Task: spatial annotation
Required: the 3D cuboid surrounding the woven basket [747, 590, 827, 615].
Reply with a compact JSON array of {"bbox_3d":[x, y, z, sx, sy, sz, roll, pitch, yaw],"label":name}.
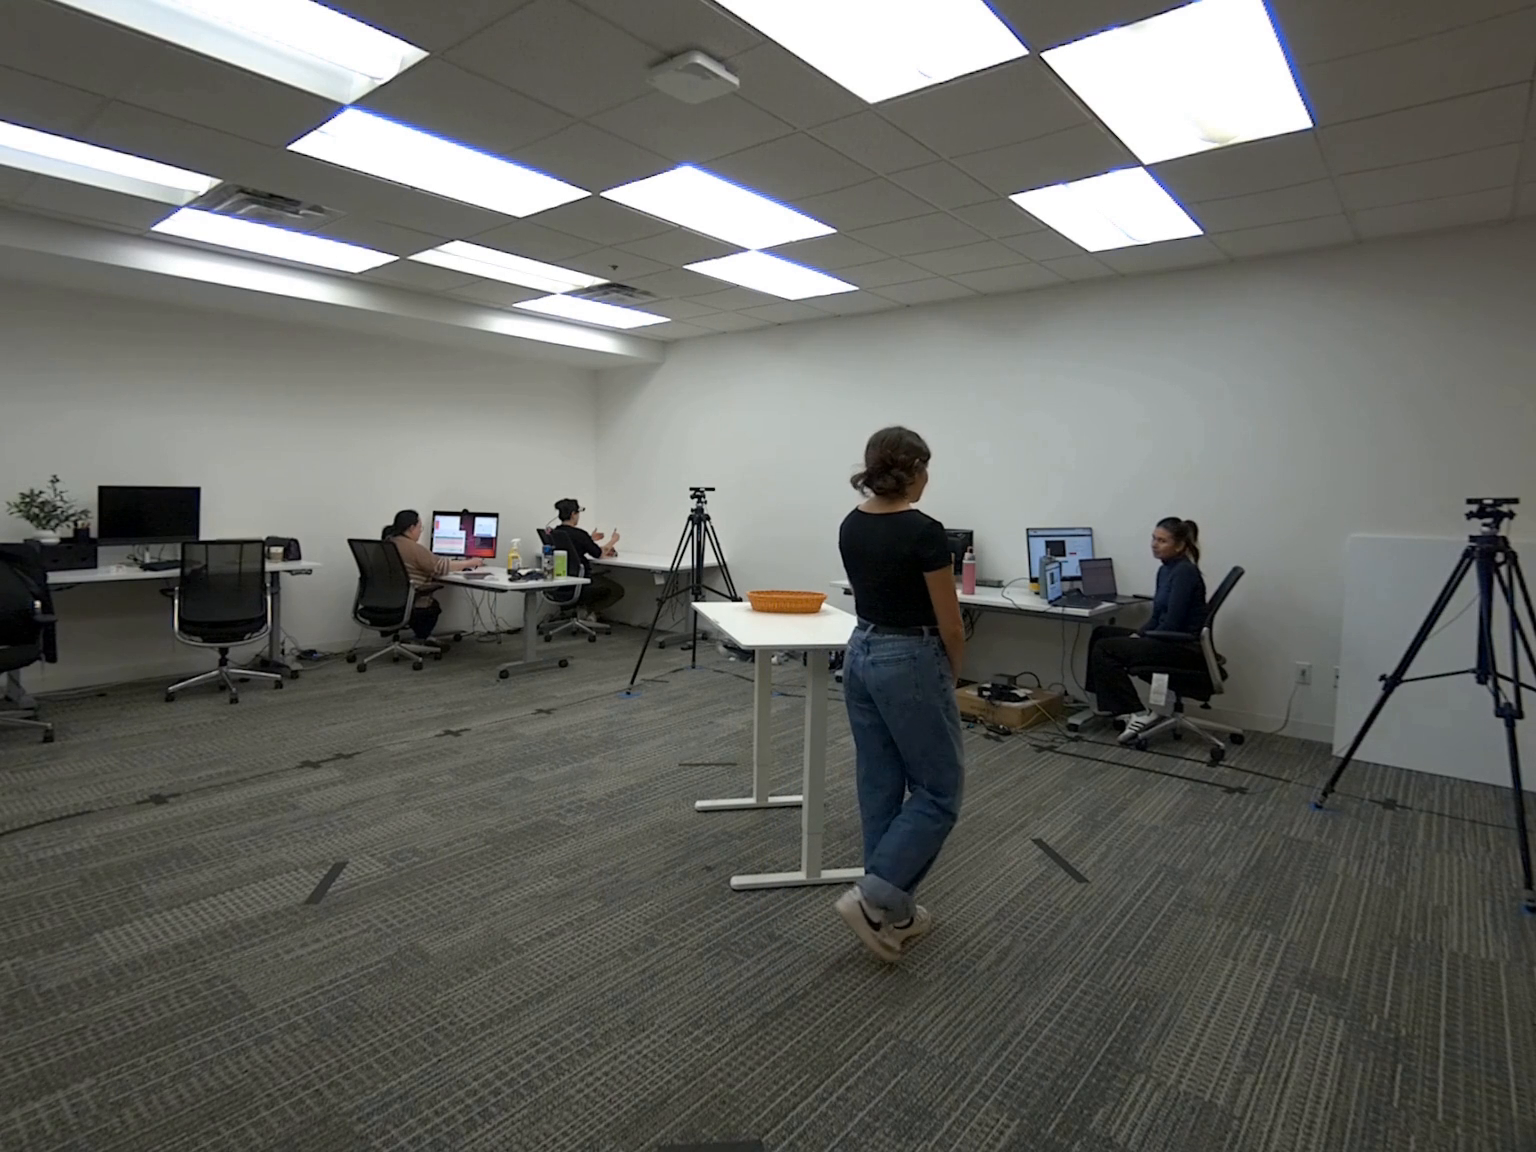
[{"bbox_3d":[0.078,0.111,3.592,0.353,0.073,0.251,2,5,6],"label":"woven basket"}]
